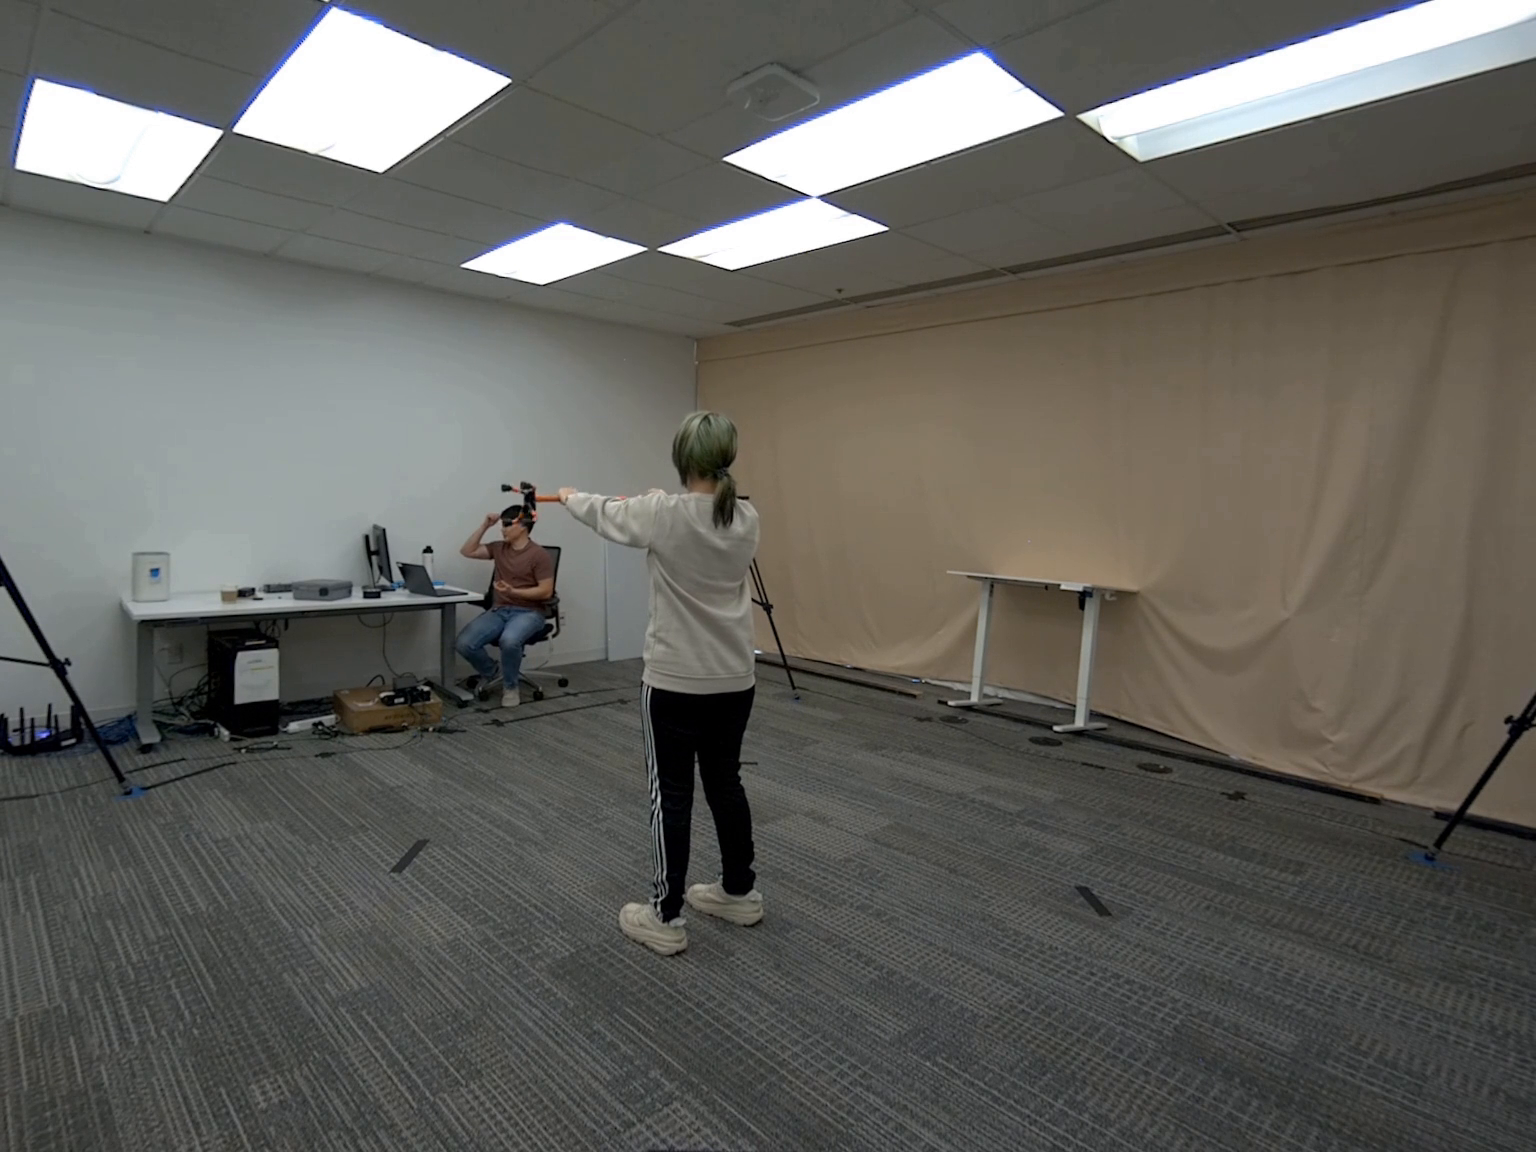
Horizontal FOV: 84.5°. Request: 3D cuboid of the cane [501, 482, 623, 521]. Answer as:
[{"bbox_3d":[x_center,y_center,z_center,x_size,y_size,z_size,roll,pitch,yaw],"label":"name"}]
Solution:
[{"bbox_3d":[-0.516,-0.269,3.128,0.888,0.151,0.211,-4,6,-37],"label":"cane"}]
